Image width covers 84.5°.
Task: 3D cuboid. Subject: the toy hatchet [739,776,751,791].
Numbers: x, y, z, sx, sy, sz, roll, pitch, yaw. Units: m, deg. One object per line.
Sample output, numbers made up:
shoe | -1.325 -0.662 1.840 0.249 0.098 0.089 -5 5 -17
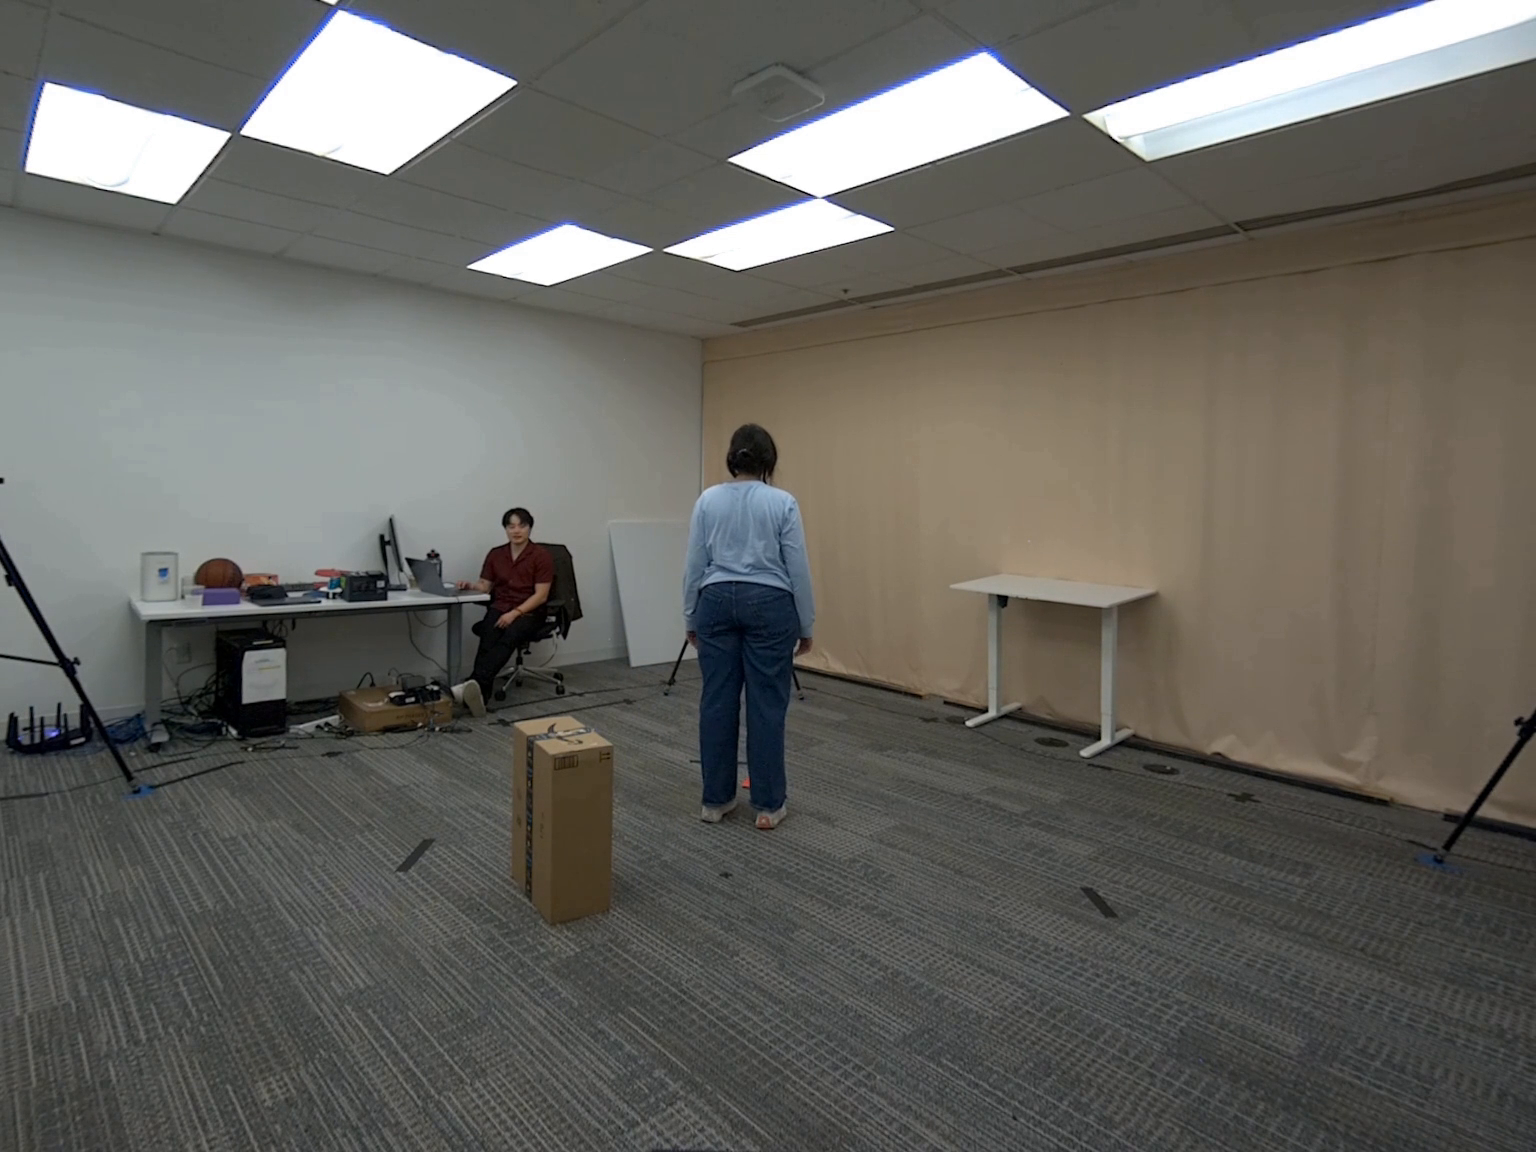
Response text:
toy hatchet | -0.040 1.023 4.024 0.128 0.029 0.276 0 7 -29
